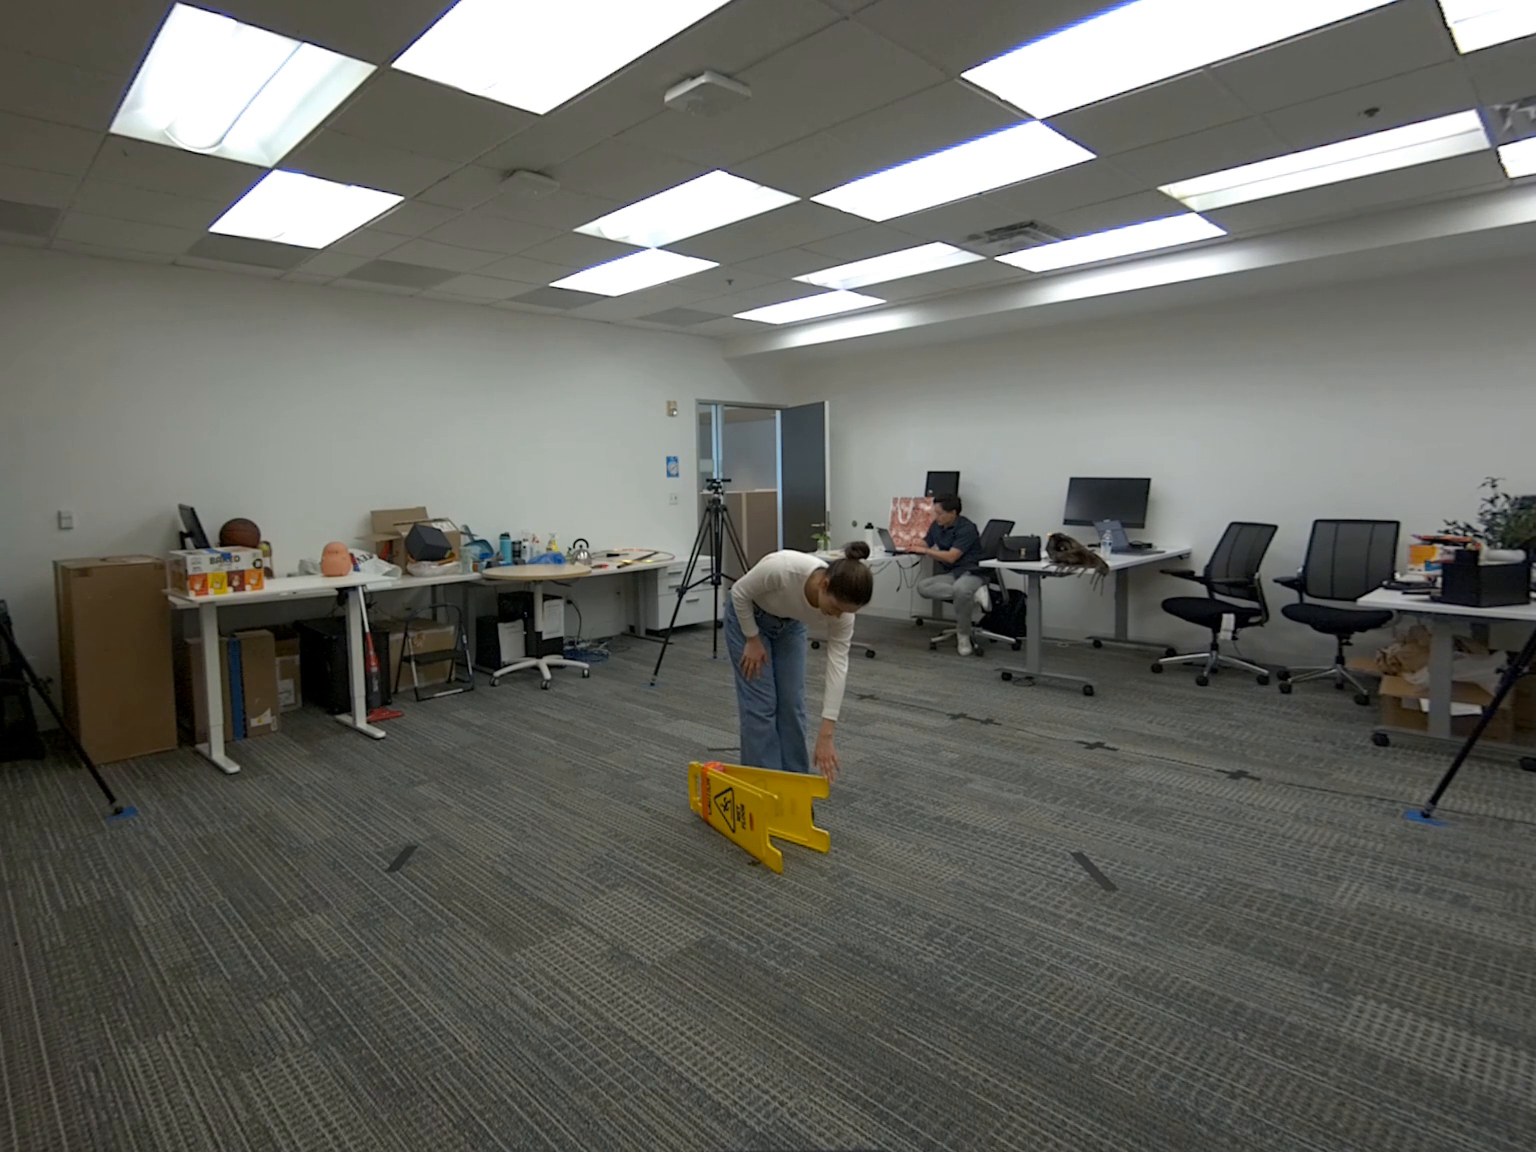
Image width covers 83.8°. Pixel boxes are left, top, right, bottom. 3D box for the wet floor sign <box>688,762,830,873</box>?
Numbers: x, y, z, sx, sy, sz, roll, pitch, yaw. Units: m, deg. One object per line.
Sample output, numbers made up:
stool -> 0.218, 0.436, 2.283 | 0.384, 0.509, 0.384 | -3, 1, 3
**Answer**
wet floor sign -> -0.098, 0.891, 3.335 | 0.282, 0.281, 0.666 | -4, 5, -43
